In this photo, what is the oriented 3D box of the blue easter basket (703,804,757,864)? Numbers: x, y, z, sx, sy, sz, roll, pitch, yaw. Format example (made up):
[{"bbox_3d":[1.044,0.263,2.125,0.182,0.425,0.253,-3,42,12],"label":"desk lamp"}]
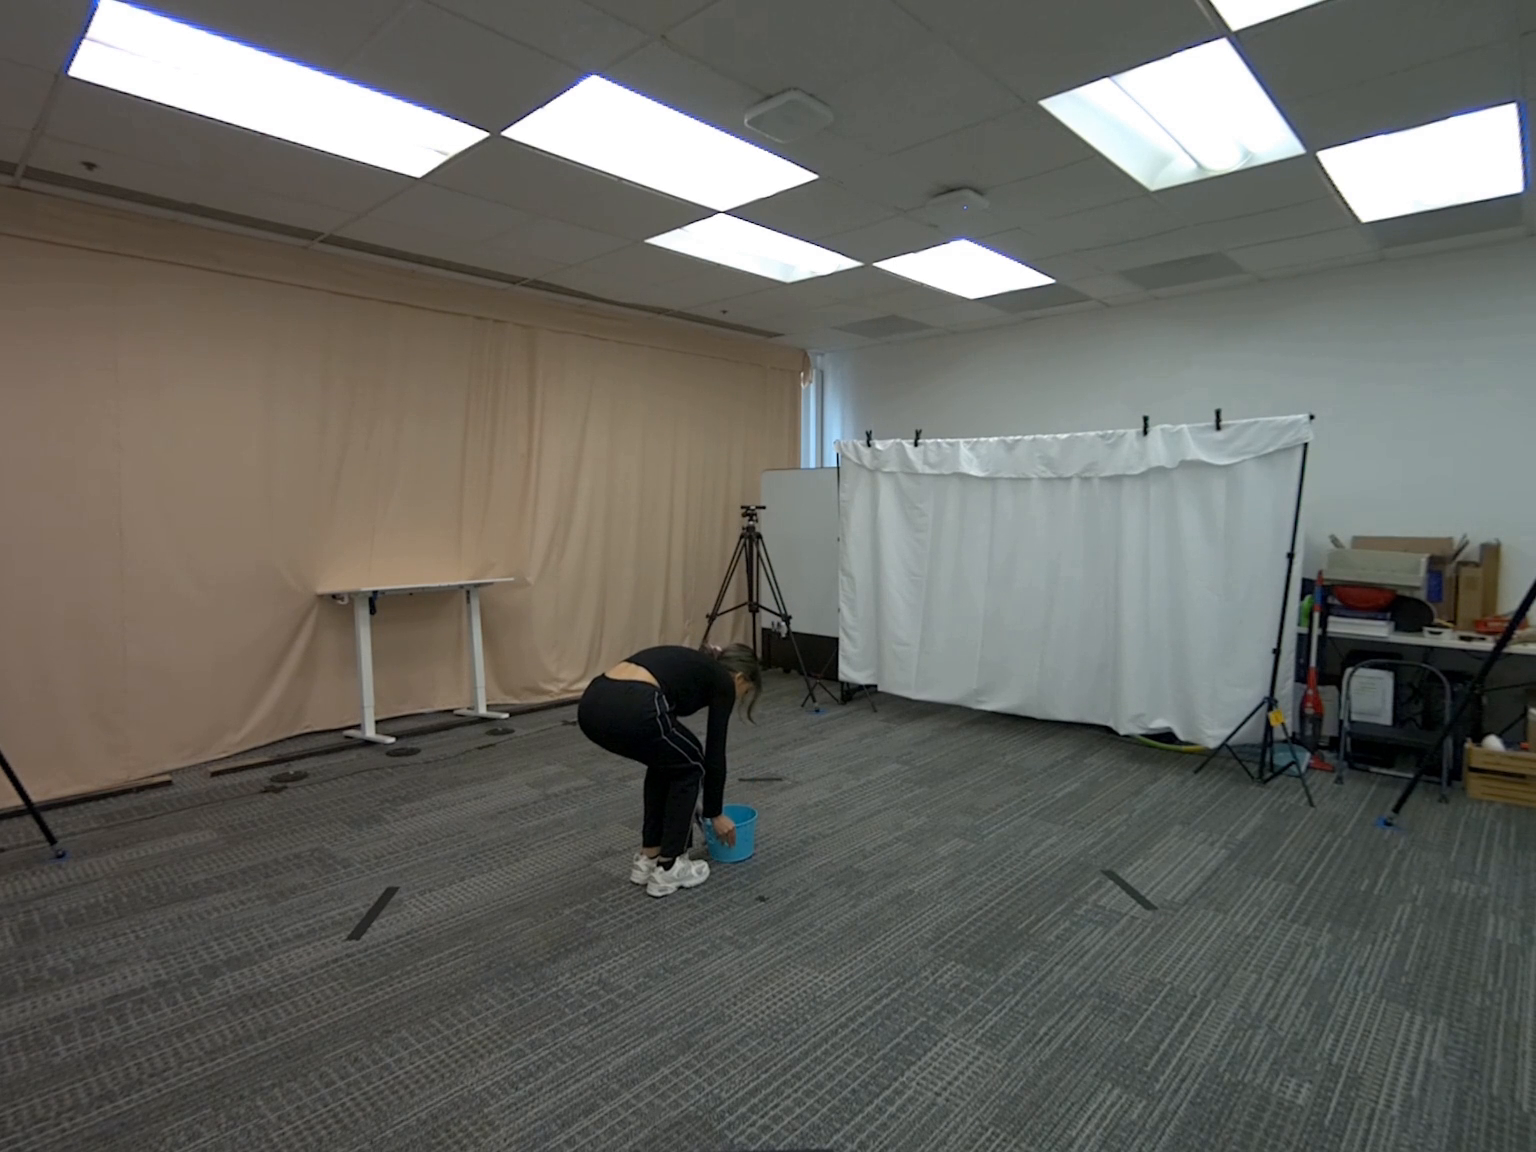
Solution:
[{"bbox_3d":[-0.158,1.028,3.360,0.243,0.155,0.245,-5,6,-1],"label":"blue easter basket"}]
